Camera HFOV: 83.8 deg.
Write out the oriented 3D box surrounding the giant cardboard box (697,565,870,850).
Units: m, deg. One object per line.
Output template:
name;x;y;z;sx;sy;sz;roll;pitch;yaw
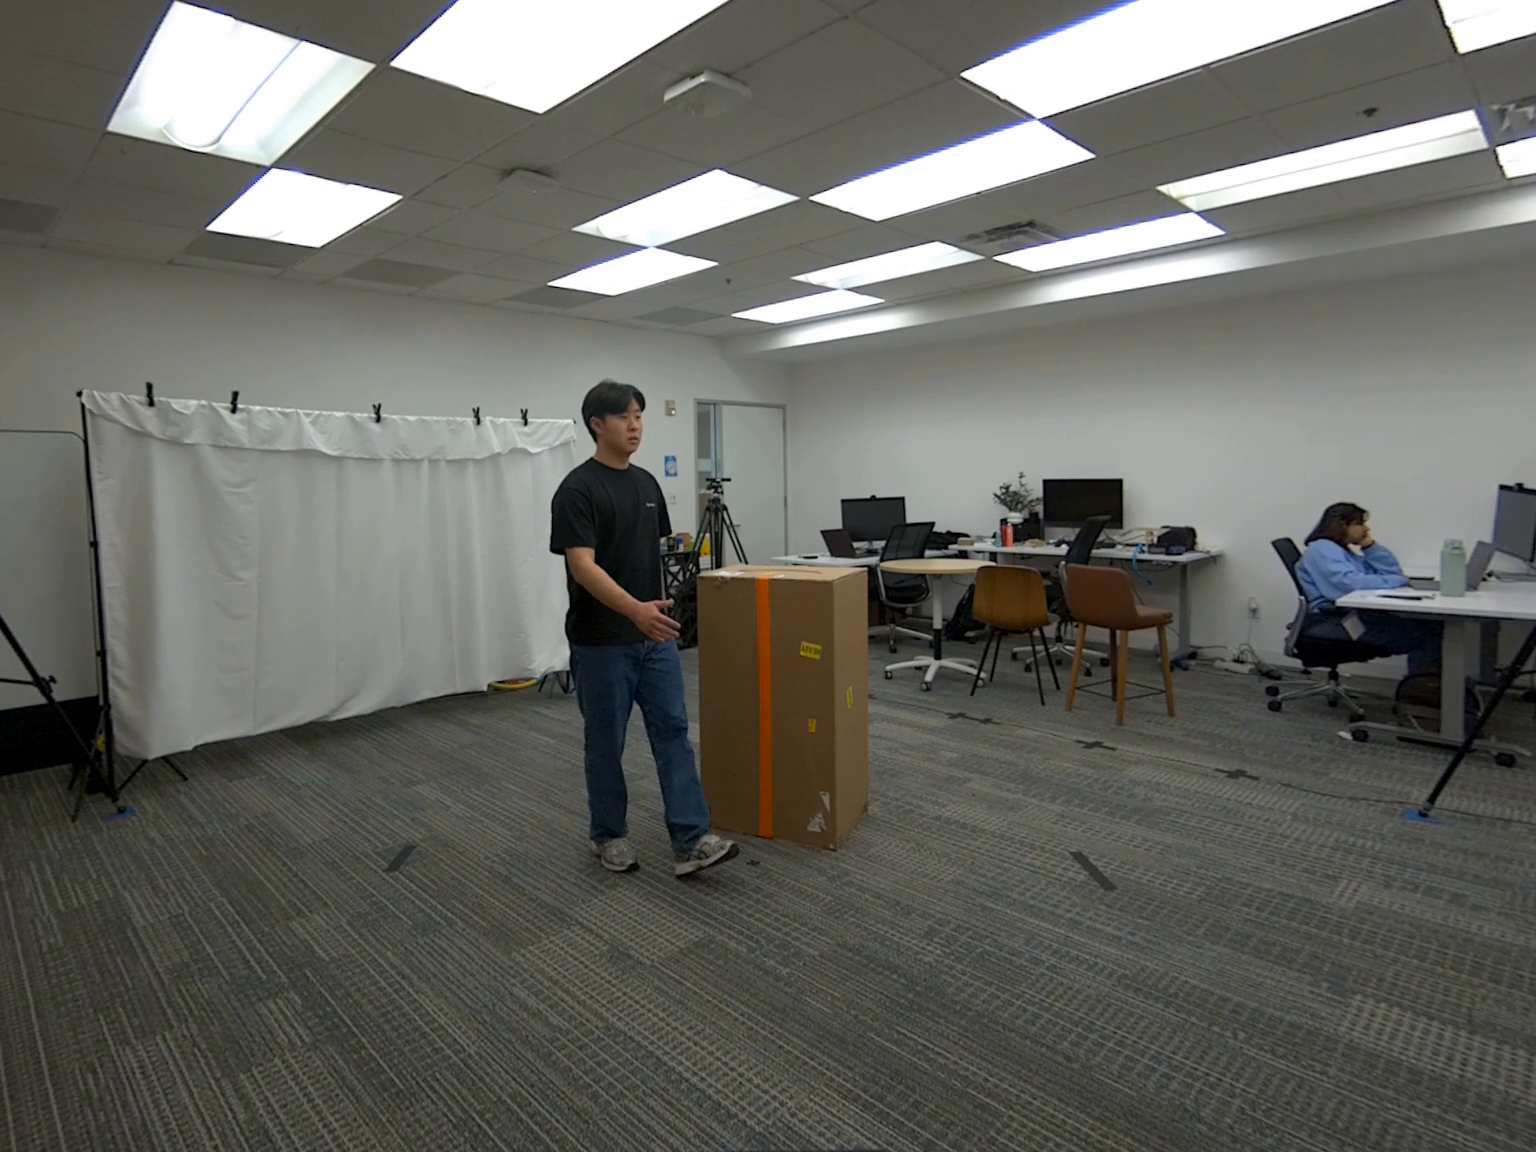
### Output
giant cardboard box;0.071;0.485;3.473;0.598;1.022;0.438;1;6;27
